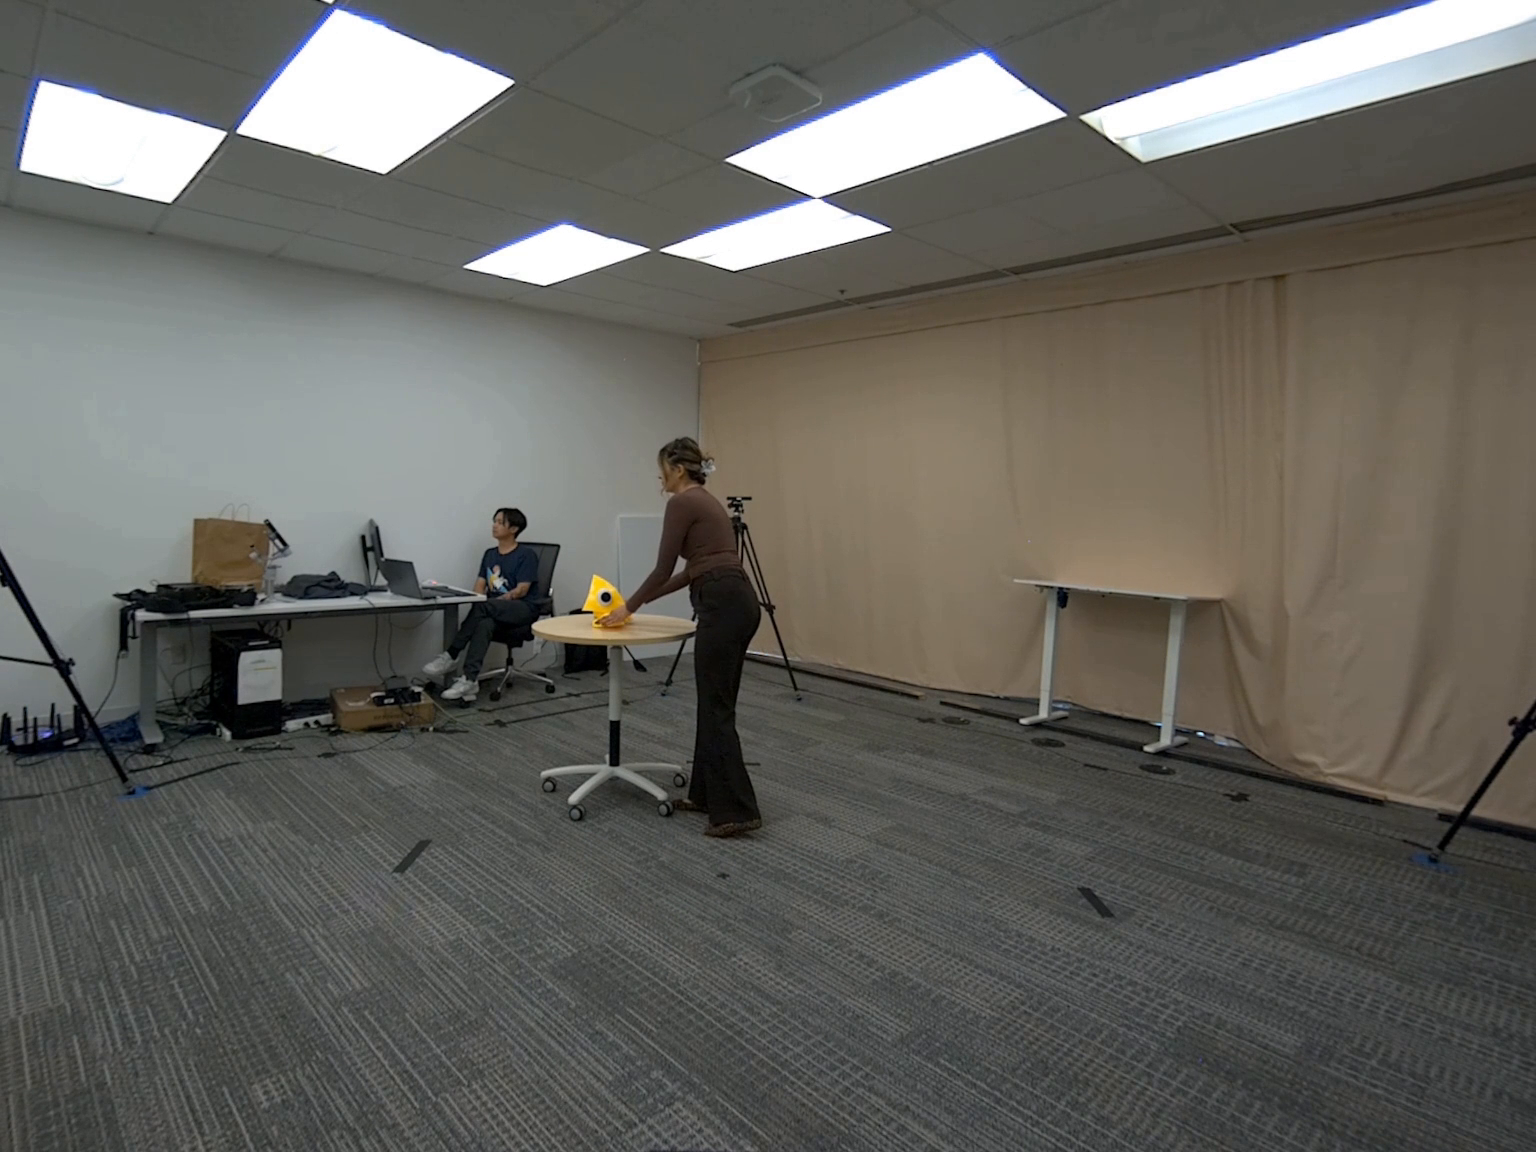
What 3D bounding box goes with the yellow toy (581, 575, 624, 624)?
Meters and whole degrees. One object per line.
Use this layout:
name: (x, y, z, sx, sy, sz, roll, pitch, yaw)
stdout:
yellow toy: (-0.738, 0.105, 3.872, 0.194, 0.230, 0.204, -4, 2, 9)
